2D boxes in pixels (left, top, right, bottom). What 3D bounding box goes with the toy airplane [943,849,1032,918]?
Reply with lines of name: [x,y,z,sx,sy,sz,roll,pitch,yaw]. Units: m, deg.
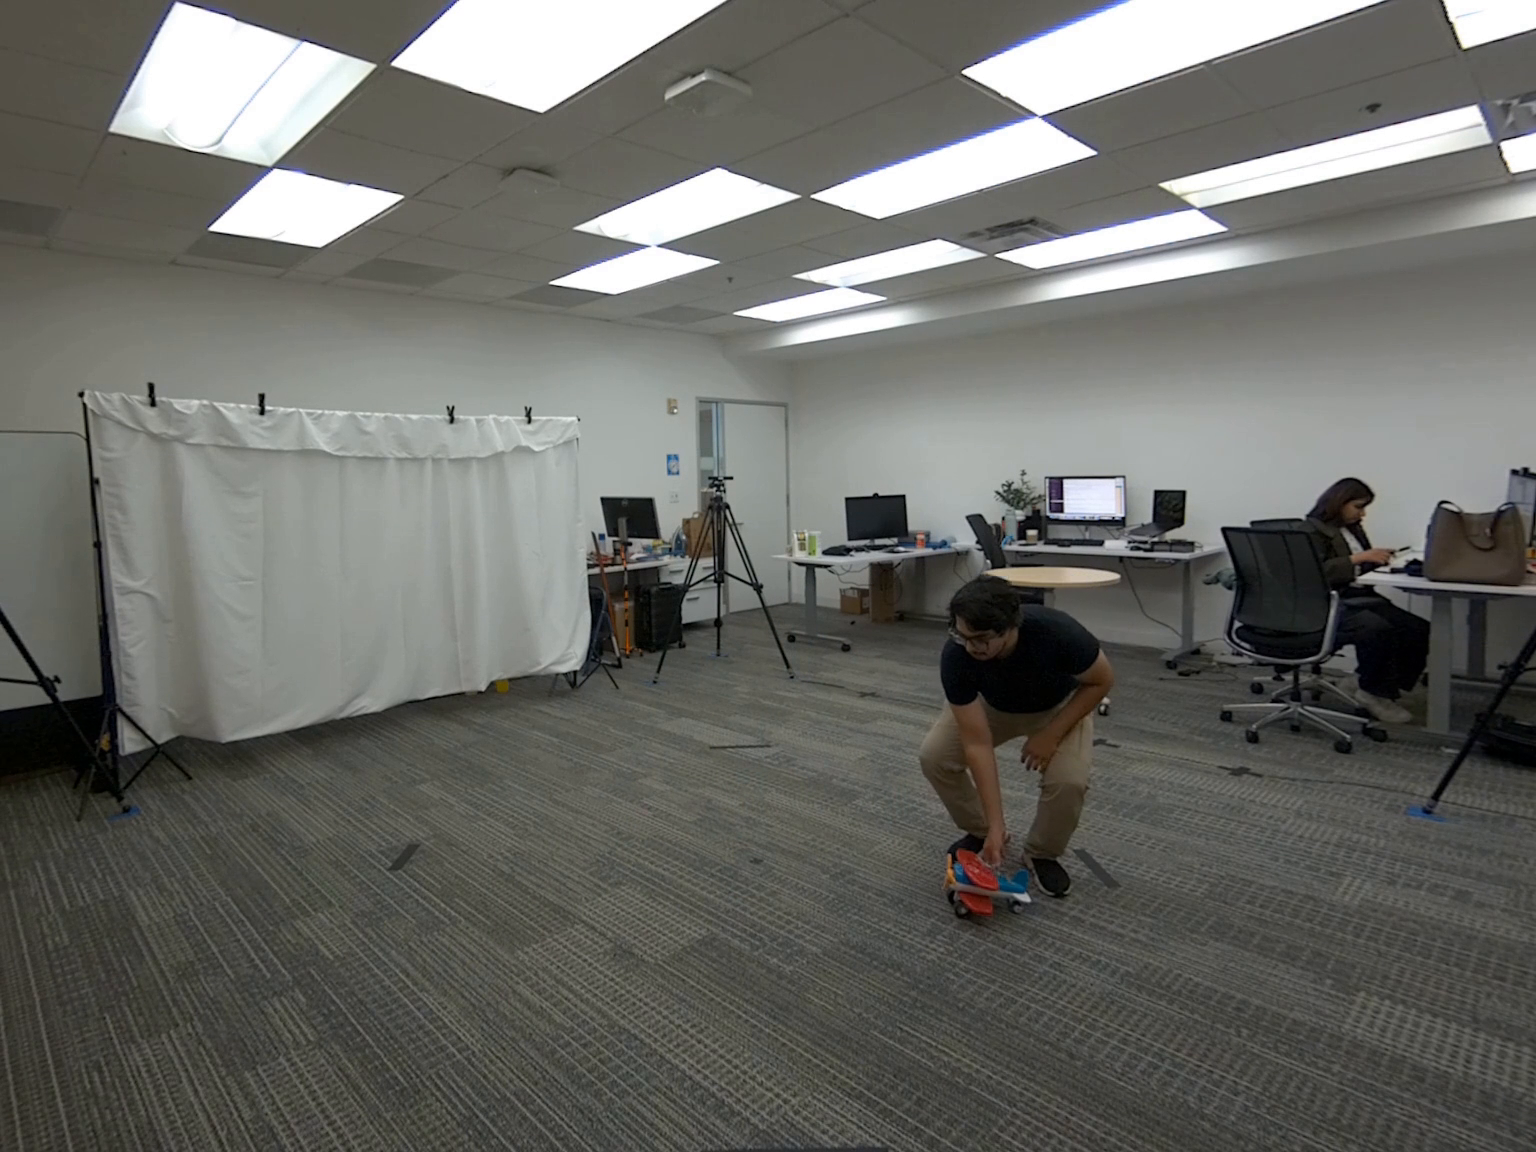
toy airplane: [0.696,0.989,2.733,0.253,0.155,0.258,-5,7,-29]
